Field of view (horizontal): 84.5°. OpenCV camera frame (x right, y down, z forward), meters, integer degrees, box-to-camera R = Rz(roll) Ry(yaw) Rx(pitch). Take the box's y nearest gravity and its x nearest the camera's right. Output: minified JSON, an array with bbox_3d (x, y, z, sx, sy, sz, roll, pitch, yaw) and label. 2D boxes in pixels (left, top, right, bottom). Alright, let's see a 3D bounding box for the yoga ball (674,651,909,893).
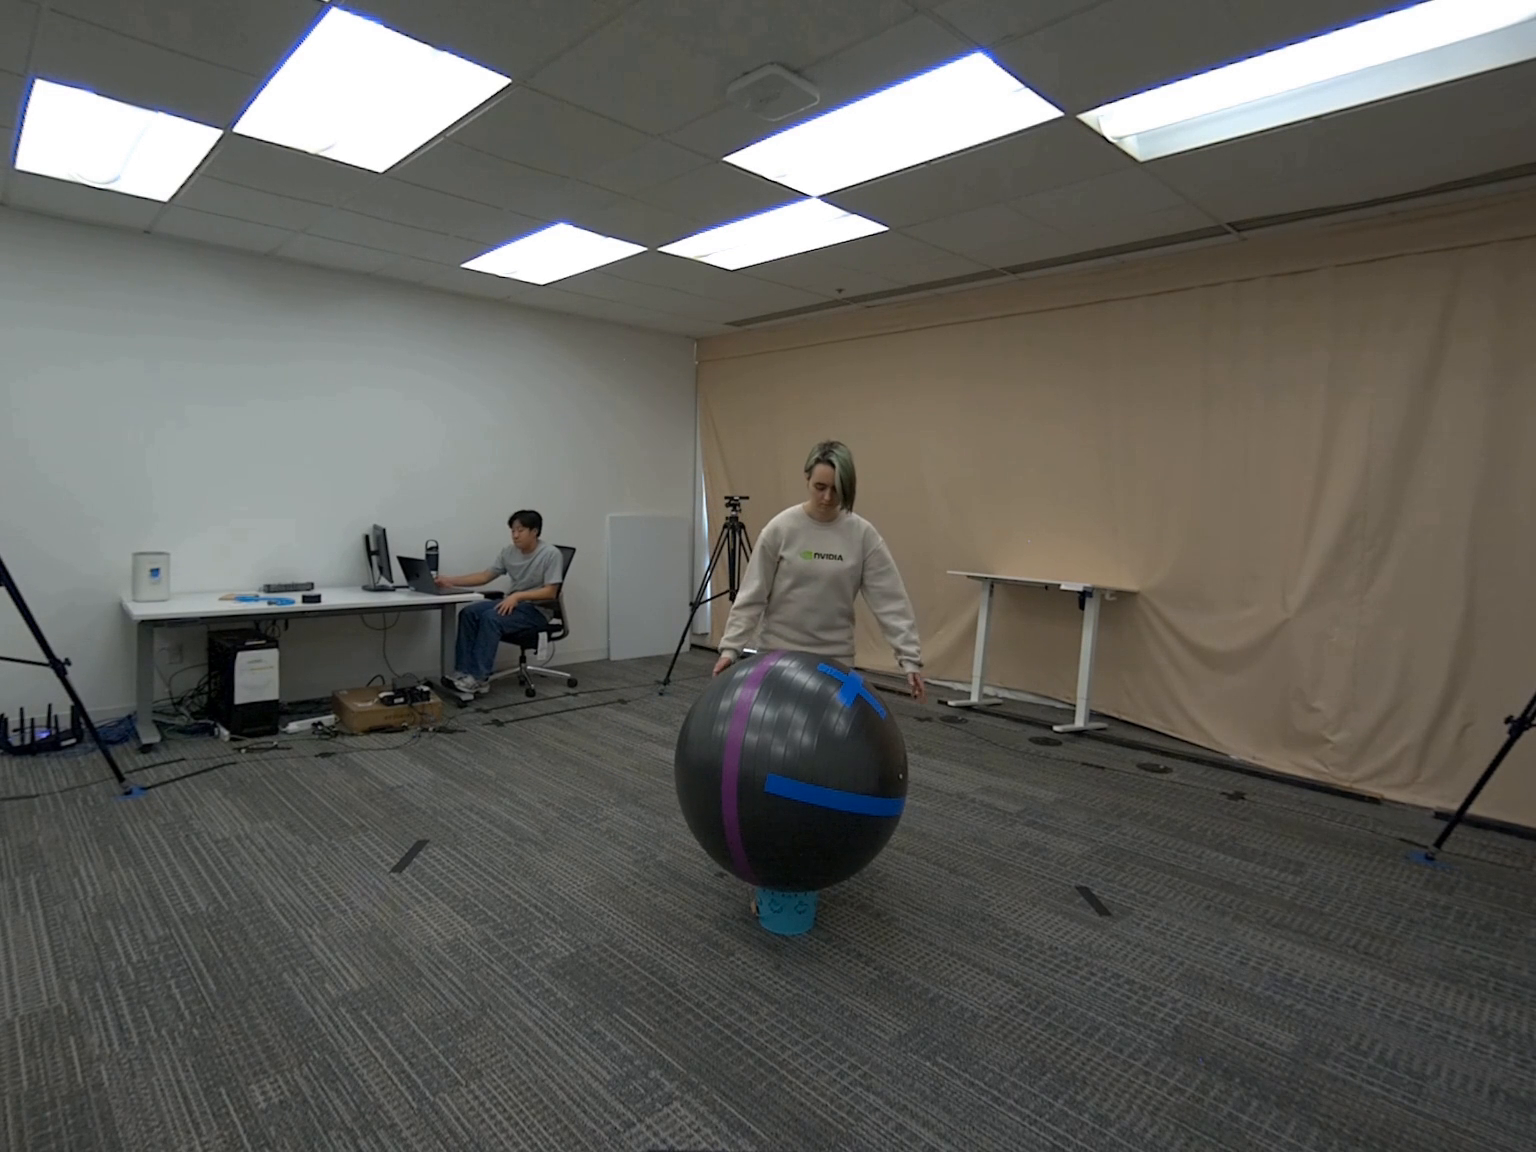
[{"bbox_3d":[0.067,0.628,2.754,0.757,0.756,0.761,1,4,-1],"label":"yoga ball"}]
